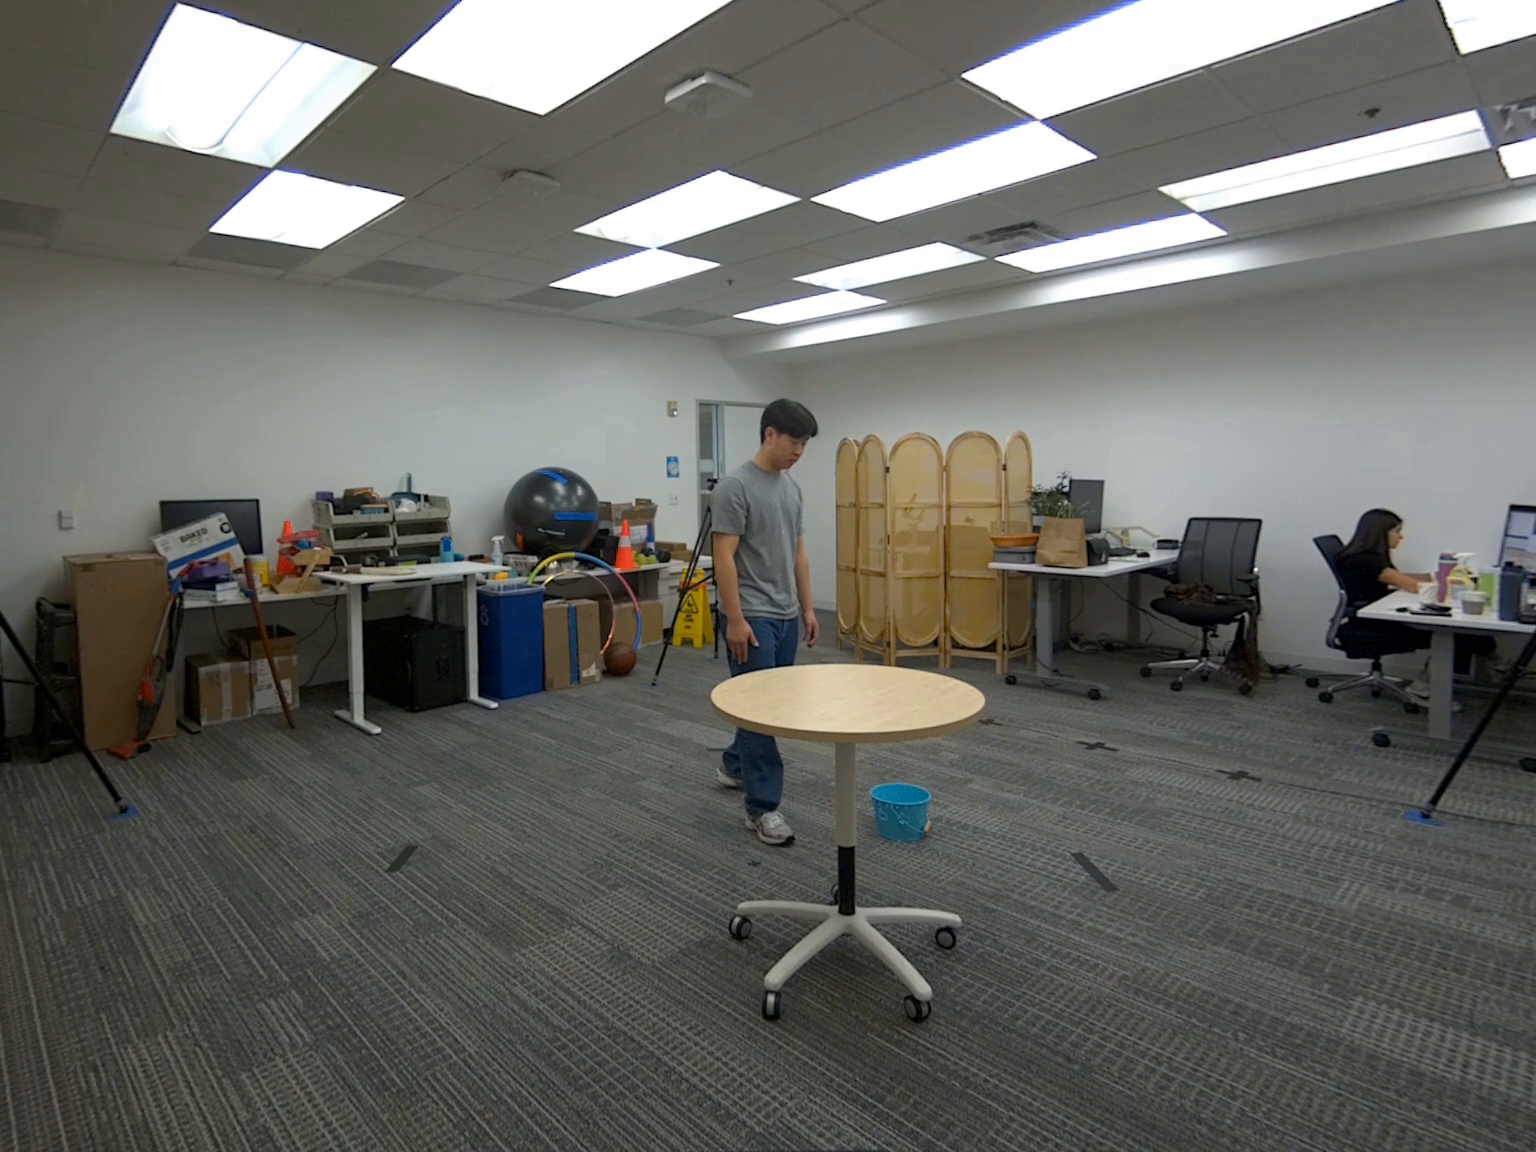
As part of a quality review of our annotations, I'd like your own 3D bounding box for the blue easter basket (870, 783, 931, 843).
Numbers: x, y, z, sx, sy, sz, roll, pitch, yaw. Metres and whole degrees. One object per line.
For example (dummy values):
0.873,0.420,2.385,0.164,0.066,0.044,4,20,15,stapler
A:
0.527,0.929,3.353,0.243,0.155,0.245,-2,5,-2,blue easter basket
